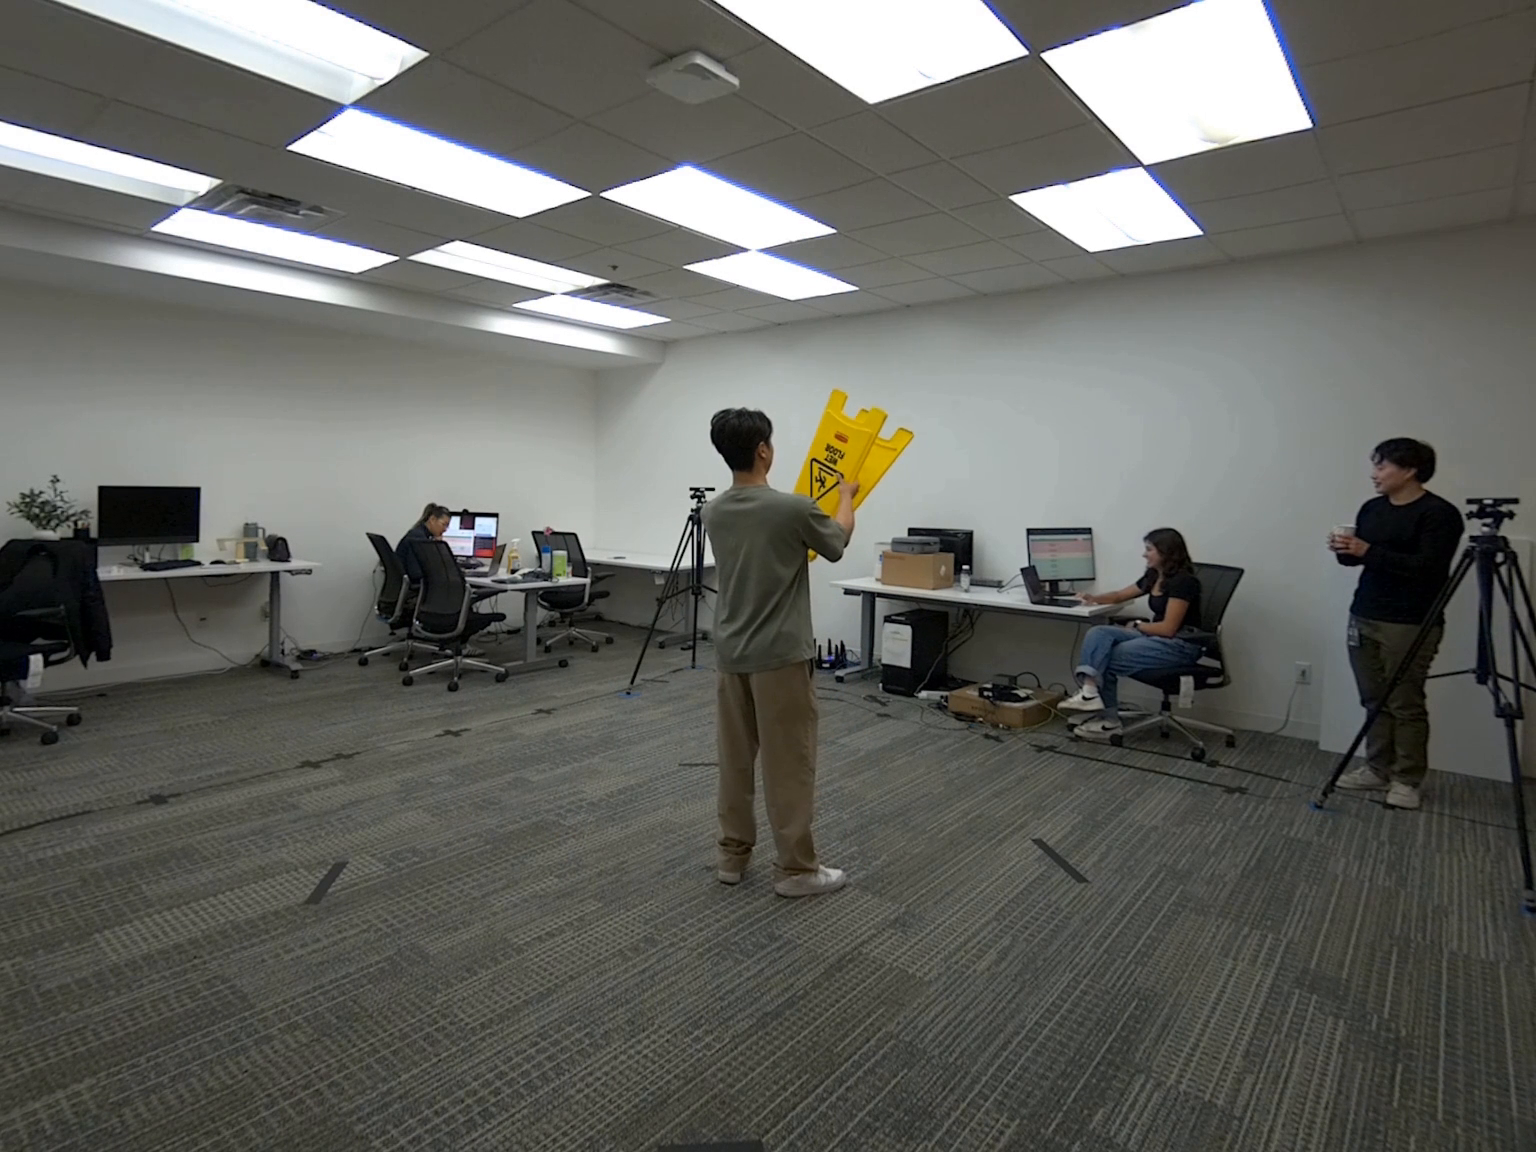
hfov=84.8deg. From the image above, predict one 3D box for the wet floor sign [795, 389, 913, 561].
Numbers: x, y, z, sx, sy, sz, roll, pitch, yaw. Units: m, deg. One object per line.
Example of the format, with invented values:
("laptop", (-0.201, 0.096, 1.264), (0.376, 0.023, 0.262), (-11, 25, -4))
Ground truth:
("wet floor sign", (0.253, -0.378, 3.403), (0.294, 0.644, 0.278), (35, 8, 36))
